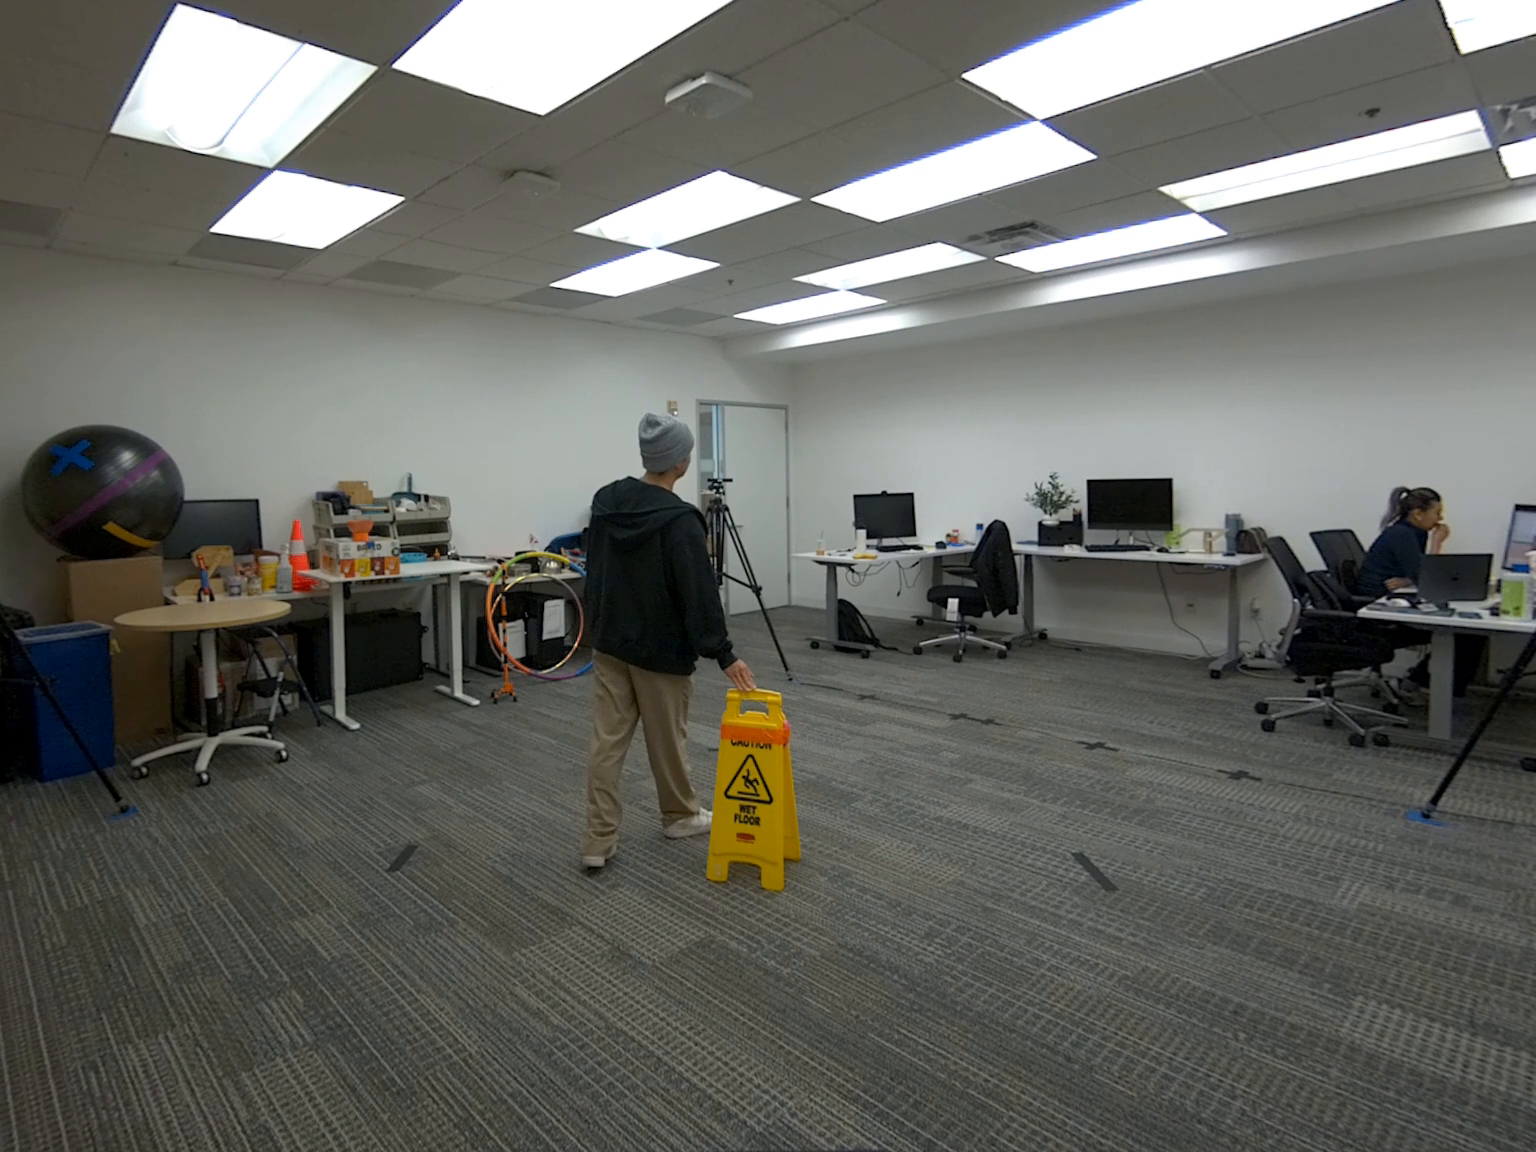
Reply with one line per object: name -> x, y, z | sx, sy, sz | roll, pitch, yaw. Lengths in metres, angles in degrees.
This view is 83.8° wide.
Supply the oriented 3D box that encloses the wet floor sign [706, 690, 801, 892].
wet floor sign -> -0.048, 0.728, 3.033 | 0.287, 0.643, 0.286 | -1, 5, 17
